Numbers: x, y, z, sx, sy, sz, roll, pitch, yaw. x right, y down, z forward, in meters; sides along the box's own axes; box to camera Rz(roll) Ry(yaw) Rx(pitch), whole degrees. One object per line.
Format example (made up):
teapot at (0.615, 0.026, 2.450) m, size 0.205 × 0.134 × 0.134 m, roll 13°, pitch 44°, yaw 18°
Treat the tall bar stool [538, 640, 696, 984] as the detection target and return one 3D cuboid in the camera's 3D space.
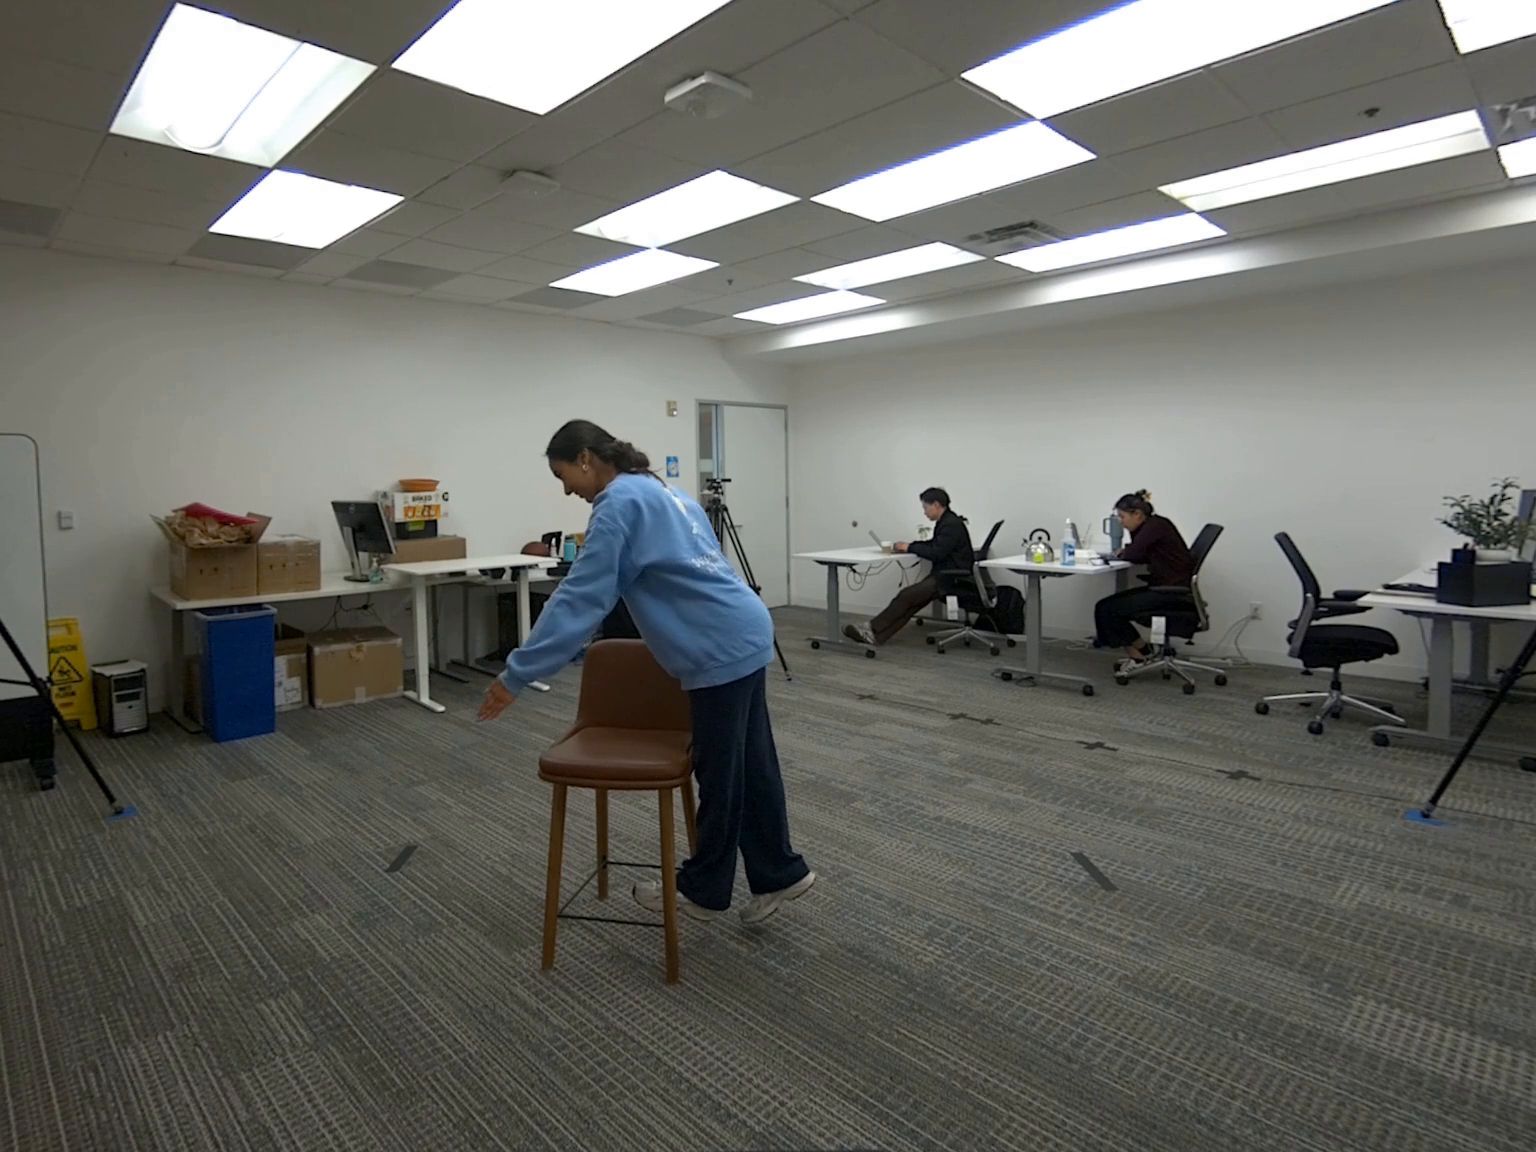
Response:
tall bar stool at (-0.425, 0.677, 2.608) m, size 0.462 × 0.887 × 0.463 m, roll 0°, pitch 3°, yaw 12°
